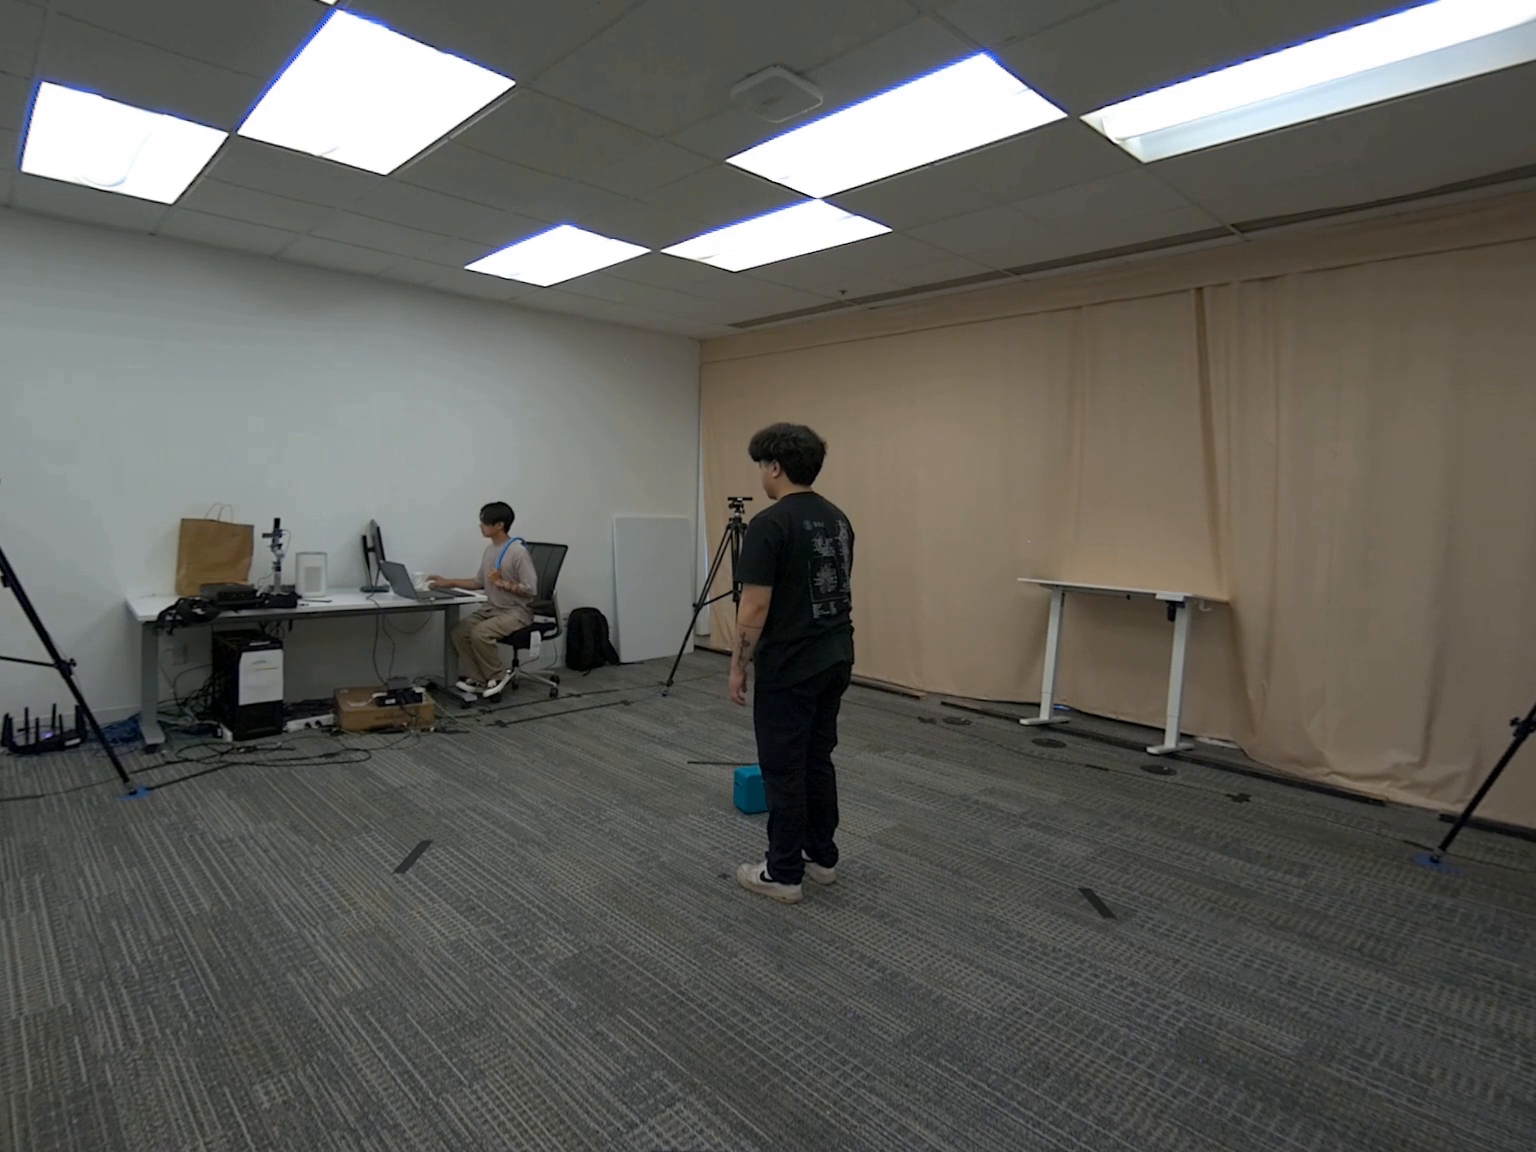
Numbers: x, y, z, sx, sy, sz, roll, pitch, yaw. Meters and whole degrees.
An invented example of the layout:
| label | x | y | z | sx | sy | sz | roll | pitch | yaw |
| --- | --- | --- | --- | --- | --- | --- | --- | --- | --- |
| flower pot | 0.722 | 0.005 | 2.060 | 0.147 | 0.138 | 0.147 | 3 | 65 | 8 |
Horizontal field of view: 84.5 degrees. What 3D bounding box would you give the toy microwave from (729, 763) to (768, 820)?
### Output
| label | x | y | z | sx | sy | sz | roll | pitch | yaw |
| --- | --- | --- | --- | --- | --- | --- | --- | --- | --- |
| toy microwave | -0.015 | 0.961 | 3.827 | 0.281 | 0.184 | 0.155 | -1 | 4 | -27 |
